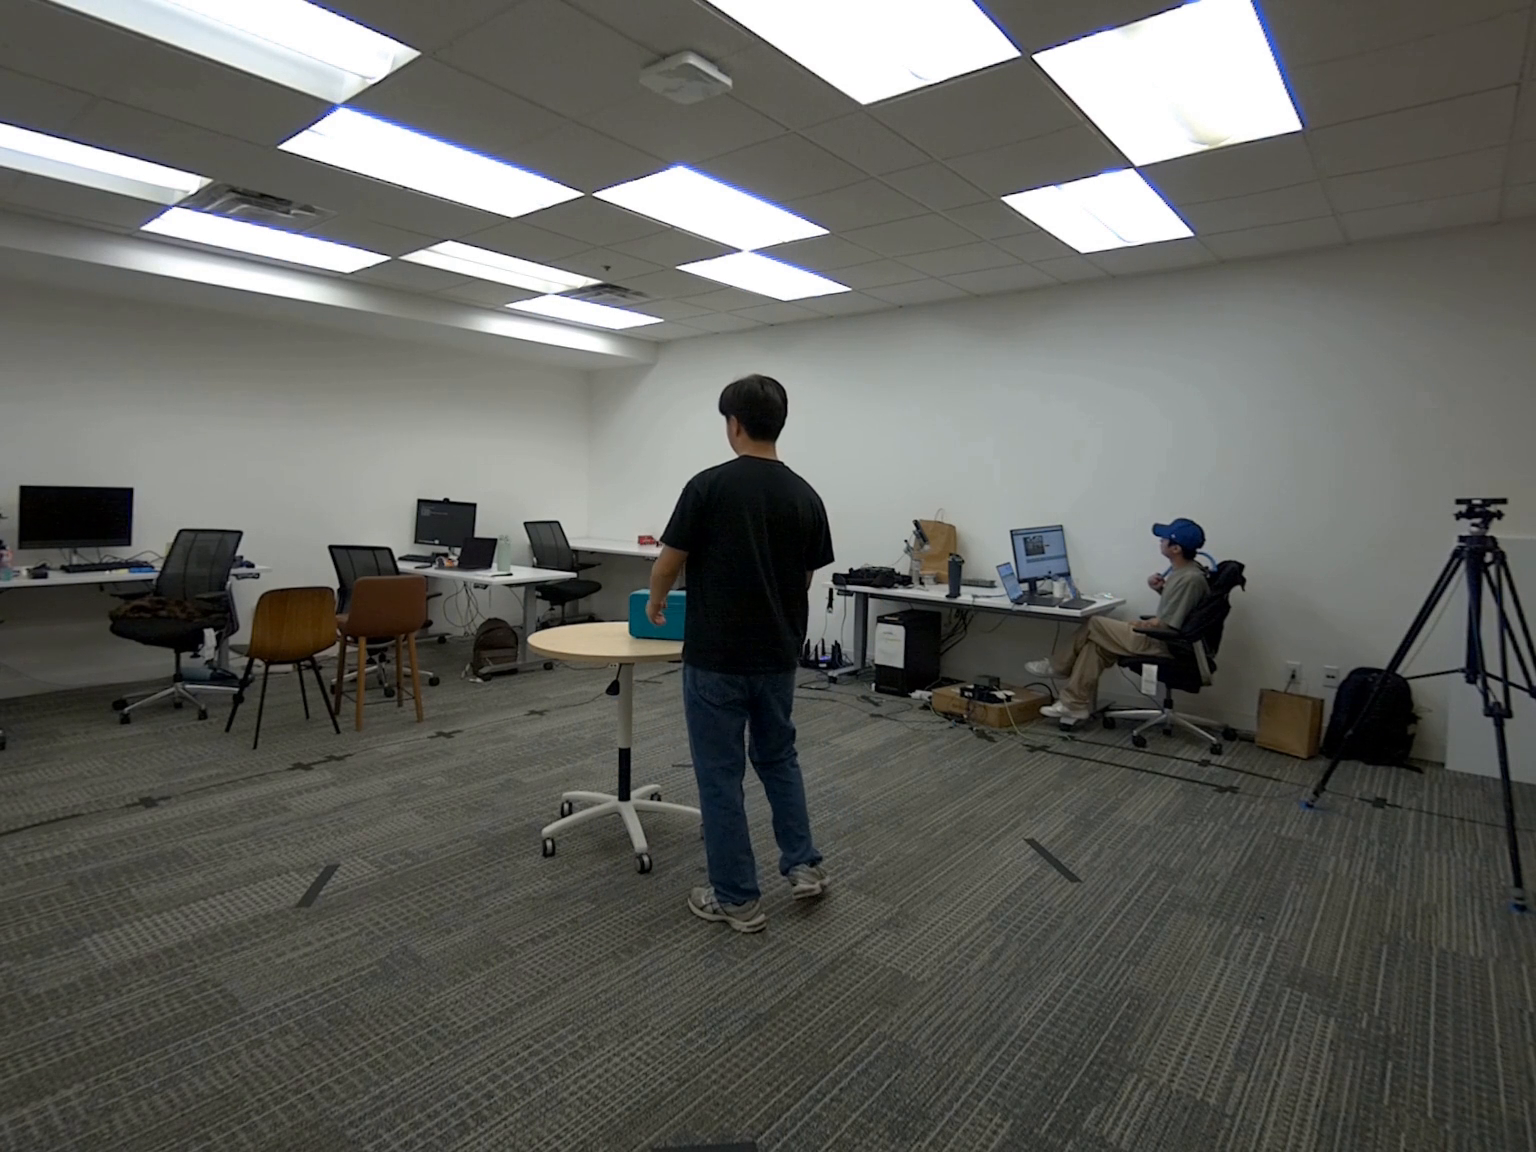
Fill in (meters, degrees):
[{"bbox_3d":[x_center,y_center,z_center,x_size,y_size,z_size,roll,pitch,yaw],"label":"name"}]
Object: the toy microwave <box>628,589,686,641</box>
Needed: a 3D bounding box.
[{"bbox_3d":[-0.412,0.149,3.383,0.289,0.183,0.151,2,4,10],"label":"toy microwave"}]
